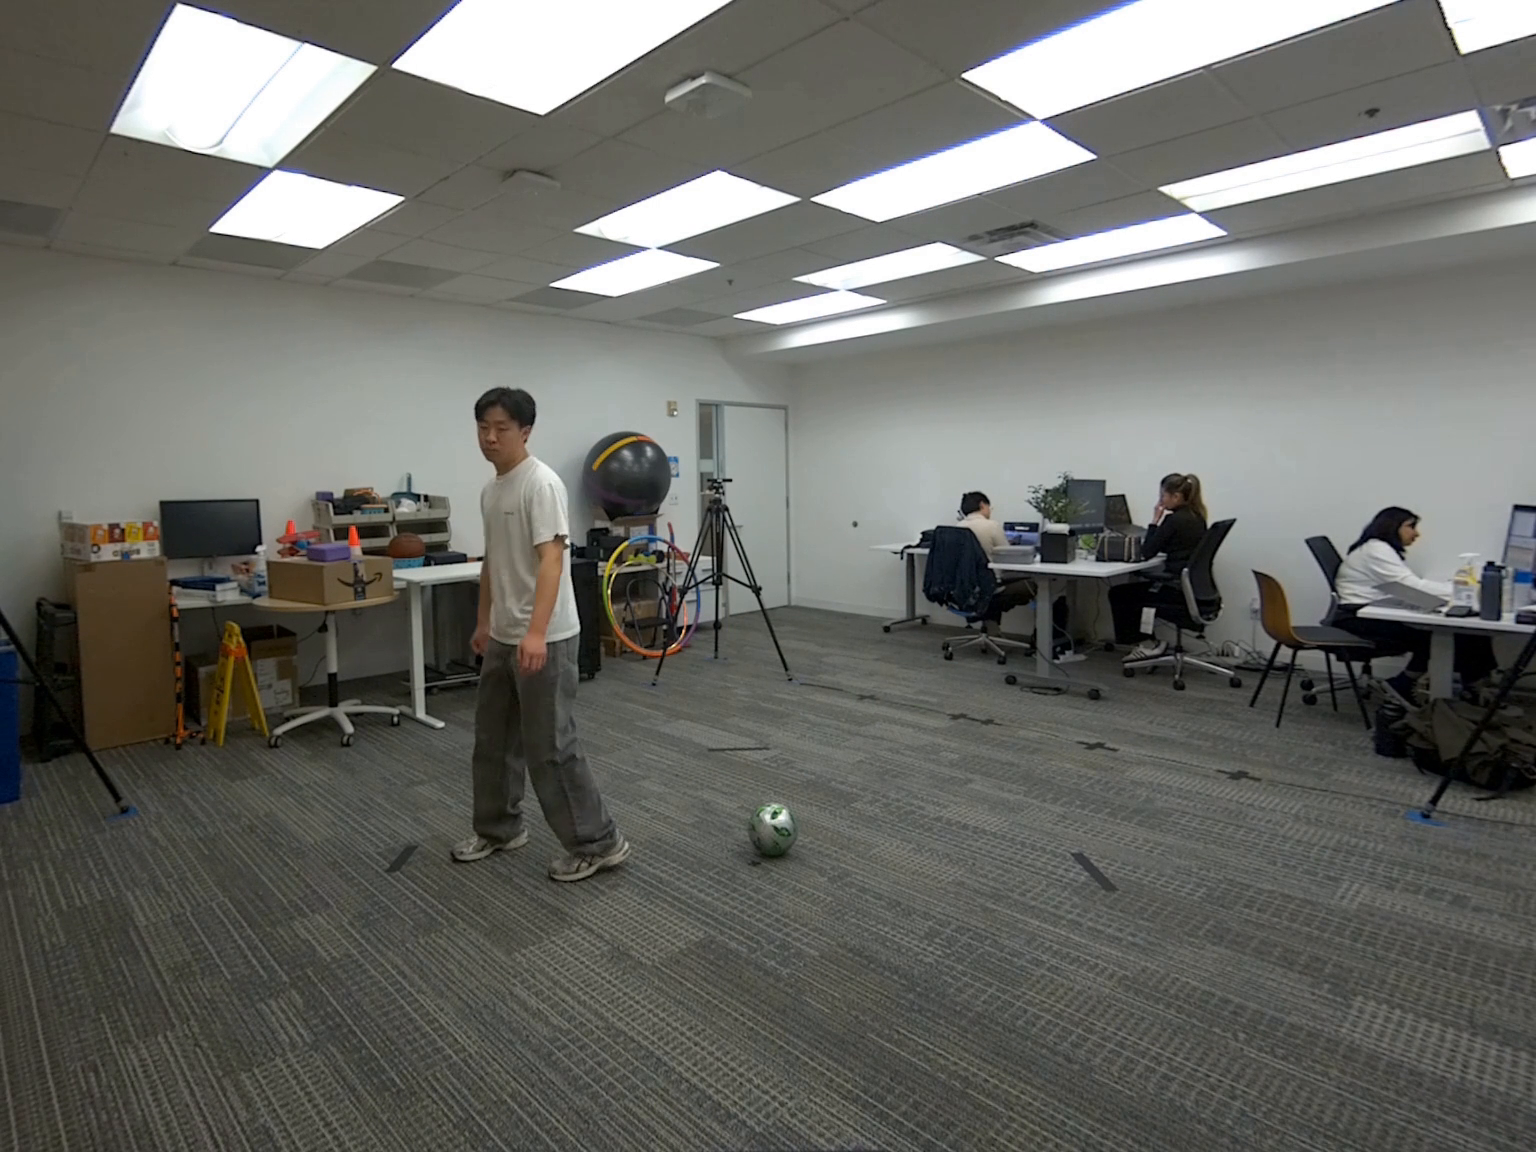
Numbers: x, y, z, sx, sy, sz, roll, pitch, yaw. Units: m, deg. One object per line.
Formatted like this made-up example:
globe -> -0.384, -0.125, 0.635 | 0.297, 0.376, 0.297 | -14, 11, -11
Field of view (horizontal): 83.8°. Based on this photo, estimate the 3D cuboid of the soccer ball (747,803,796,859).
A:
soccer ball -> 0.017, 0.936, 3.174 | 0.187, 0.187, 0.188 | -1, 5, -2
